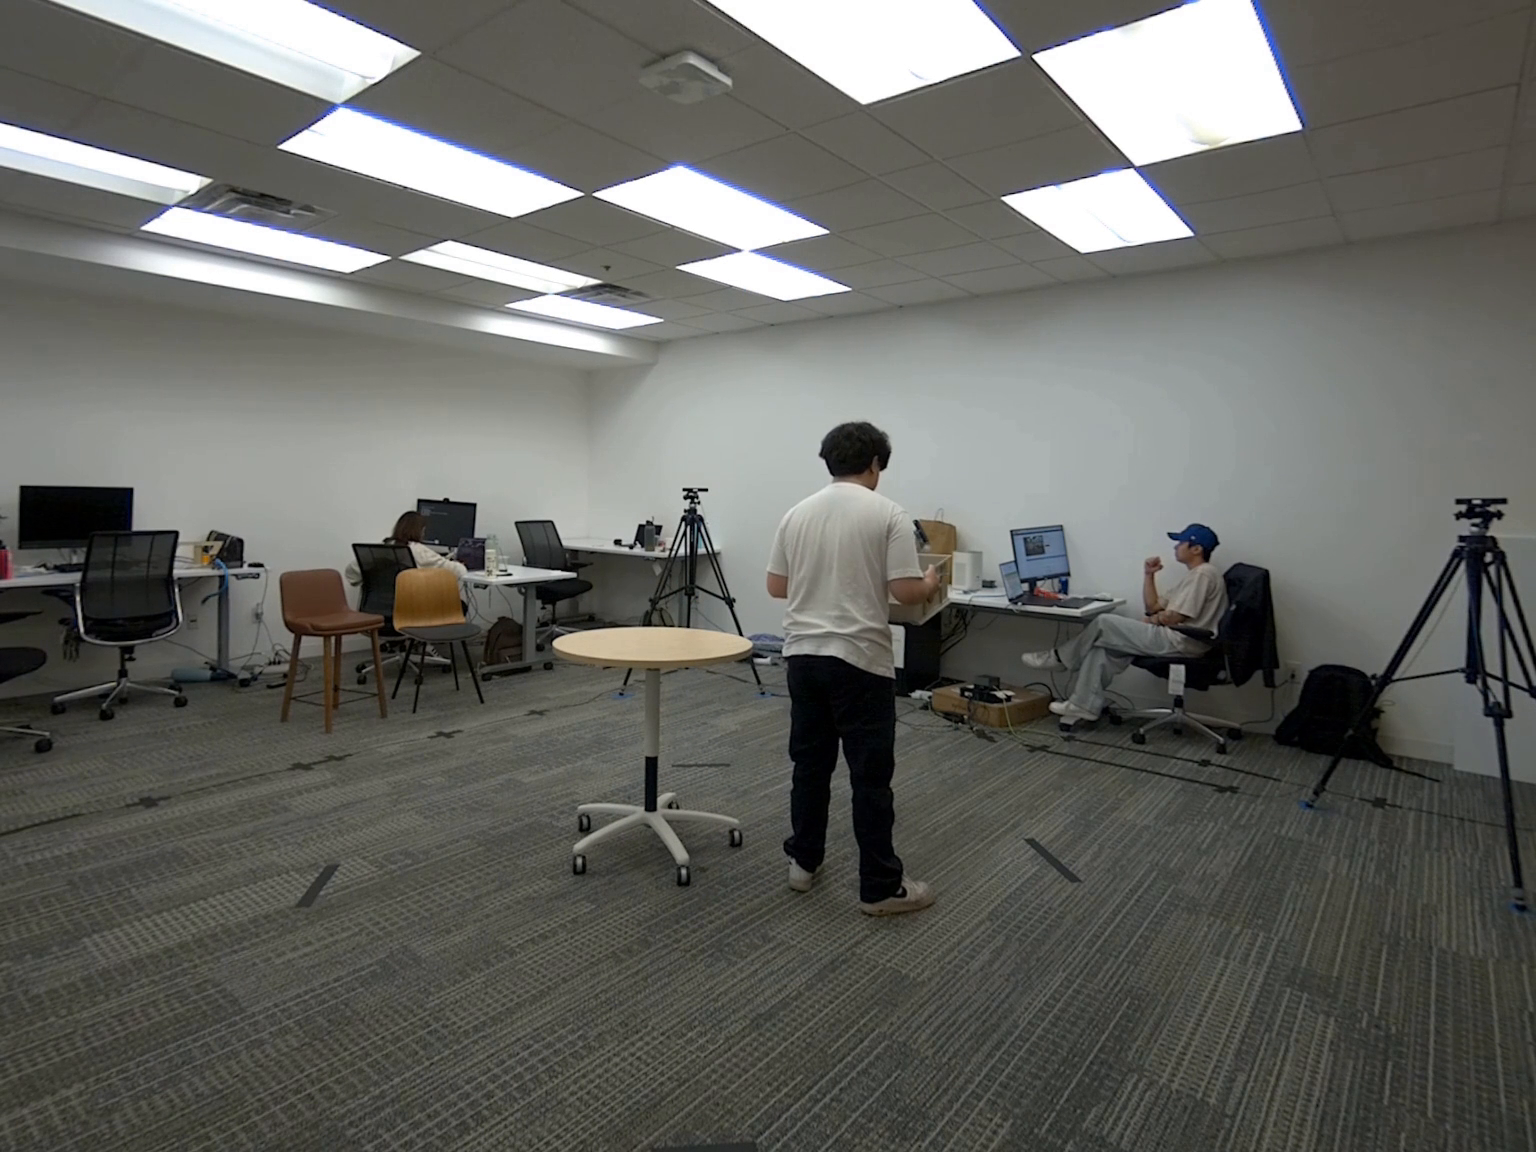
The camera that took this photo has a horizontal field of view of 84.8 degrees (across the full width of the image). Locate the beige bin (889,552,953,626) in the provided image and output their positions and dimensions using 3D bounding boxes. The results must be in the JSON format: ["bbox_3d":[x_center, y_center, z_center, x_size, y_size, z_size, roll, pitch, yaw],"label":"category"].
[{"bbox_3d":[0.429,0.036,3.215,0.434,0.187,0.370,1,12,31],"label":"beige bin"}]
